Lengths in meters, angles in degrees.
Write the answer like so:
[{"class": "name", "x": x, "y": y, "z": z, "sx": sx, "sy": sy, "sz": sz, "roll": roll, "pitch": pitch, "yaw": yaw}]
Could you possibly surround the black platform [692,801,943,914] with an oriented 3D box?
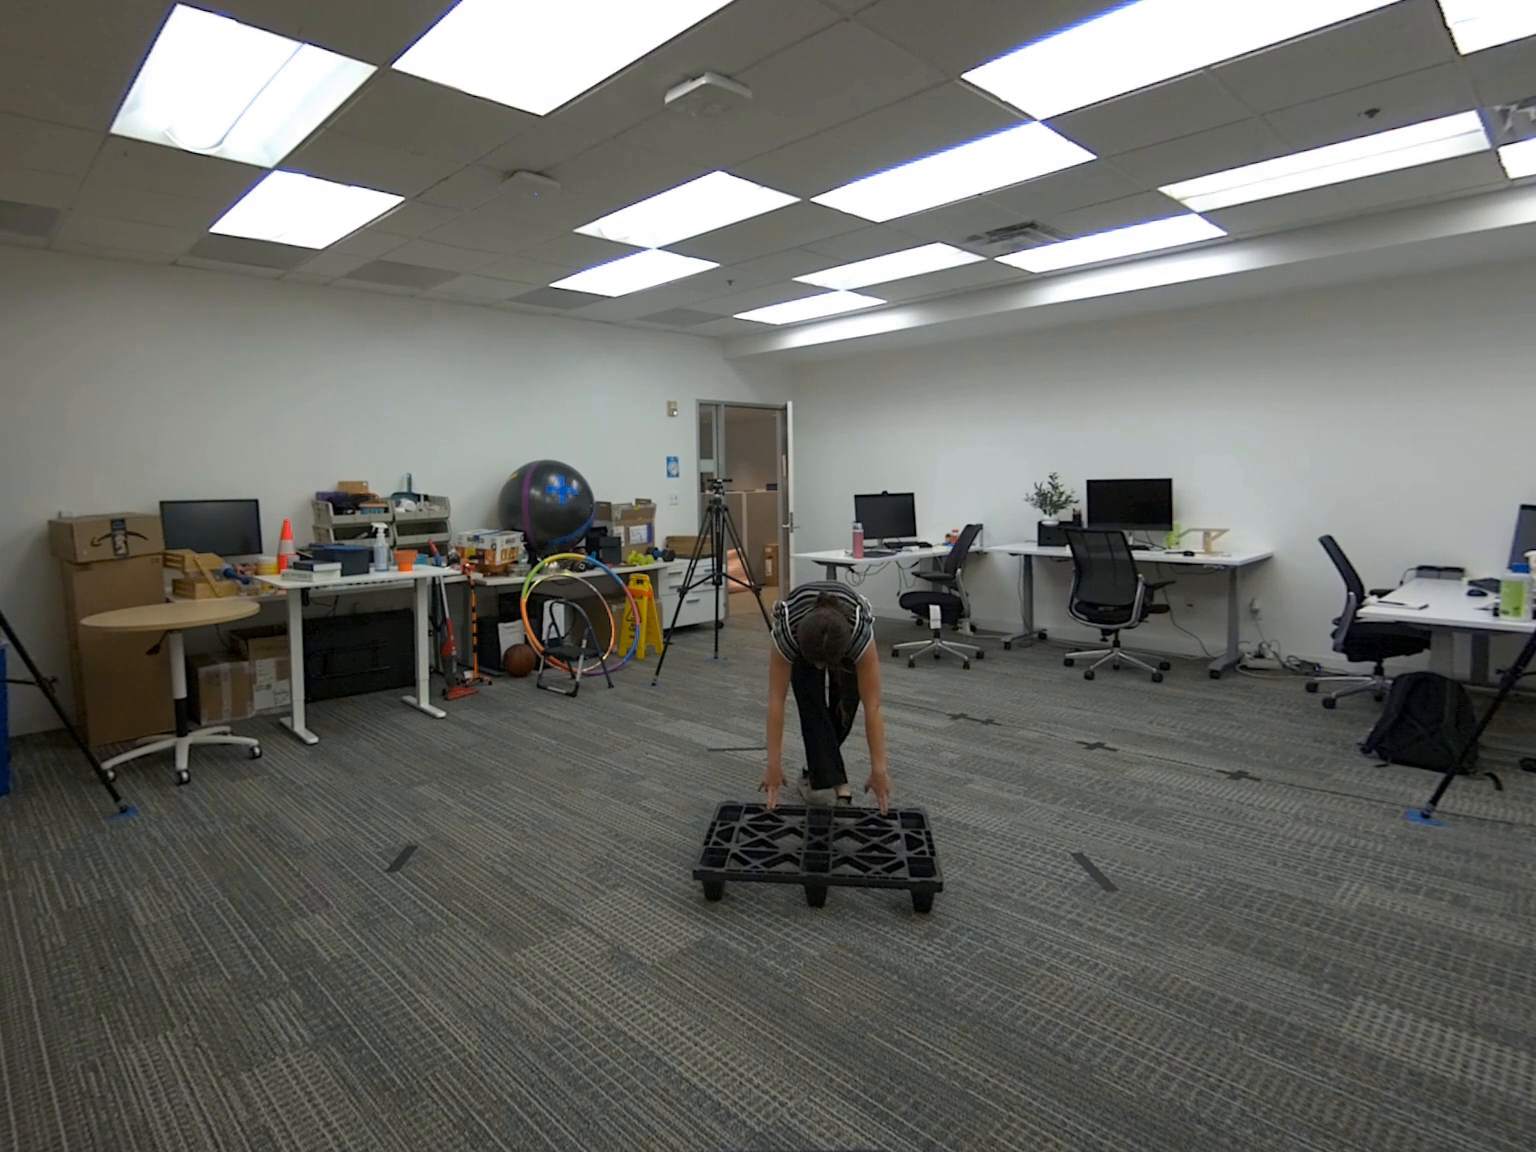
[{"class": "black platform", "x": 0.180, "y": 0.985, "z": 3.008, "sx": 0.812, "sy": 0.142, "sz": 0.604, "roll": 0, "pitch": 7, "yaw": 7}]
